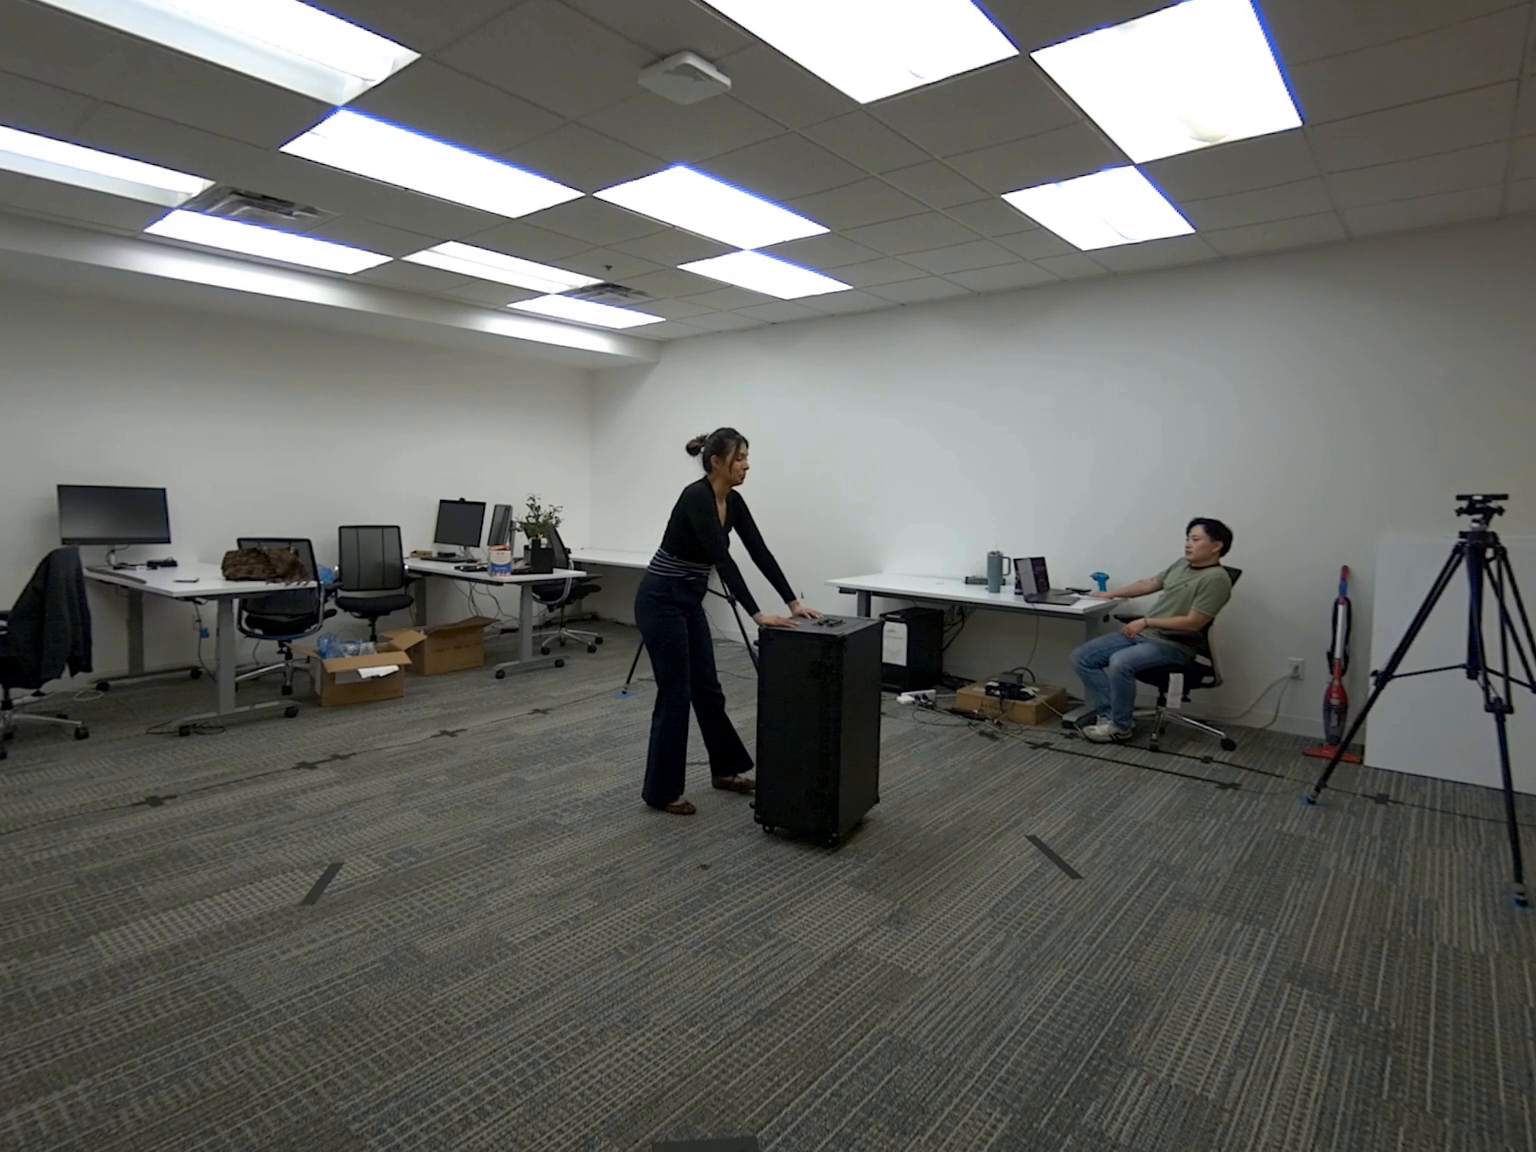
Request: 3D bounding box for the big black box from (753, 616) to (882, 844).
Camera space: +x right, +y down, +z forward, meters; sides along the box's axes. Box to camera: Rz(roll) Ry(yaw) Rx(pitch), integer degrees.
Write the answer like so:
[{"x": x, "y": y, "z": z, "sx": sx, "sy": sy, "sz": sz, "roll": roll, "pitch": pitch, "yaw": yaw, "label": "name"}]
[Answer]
[{"x": 0.197, "y": 0.609, "z": 3.466, "sx": 0.407, "sy": 0.858, "sz": 0.509, "roll": 3, "pitch": 4, "yaw": 27, "label": "big black box"}]
